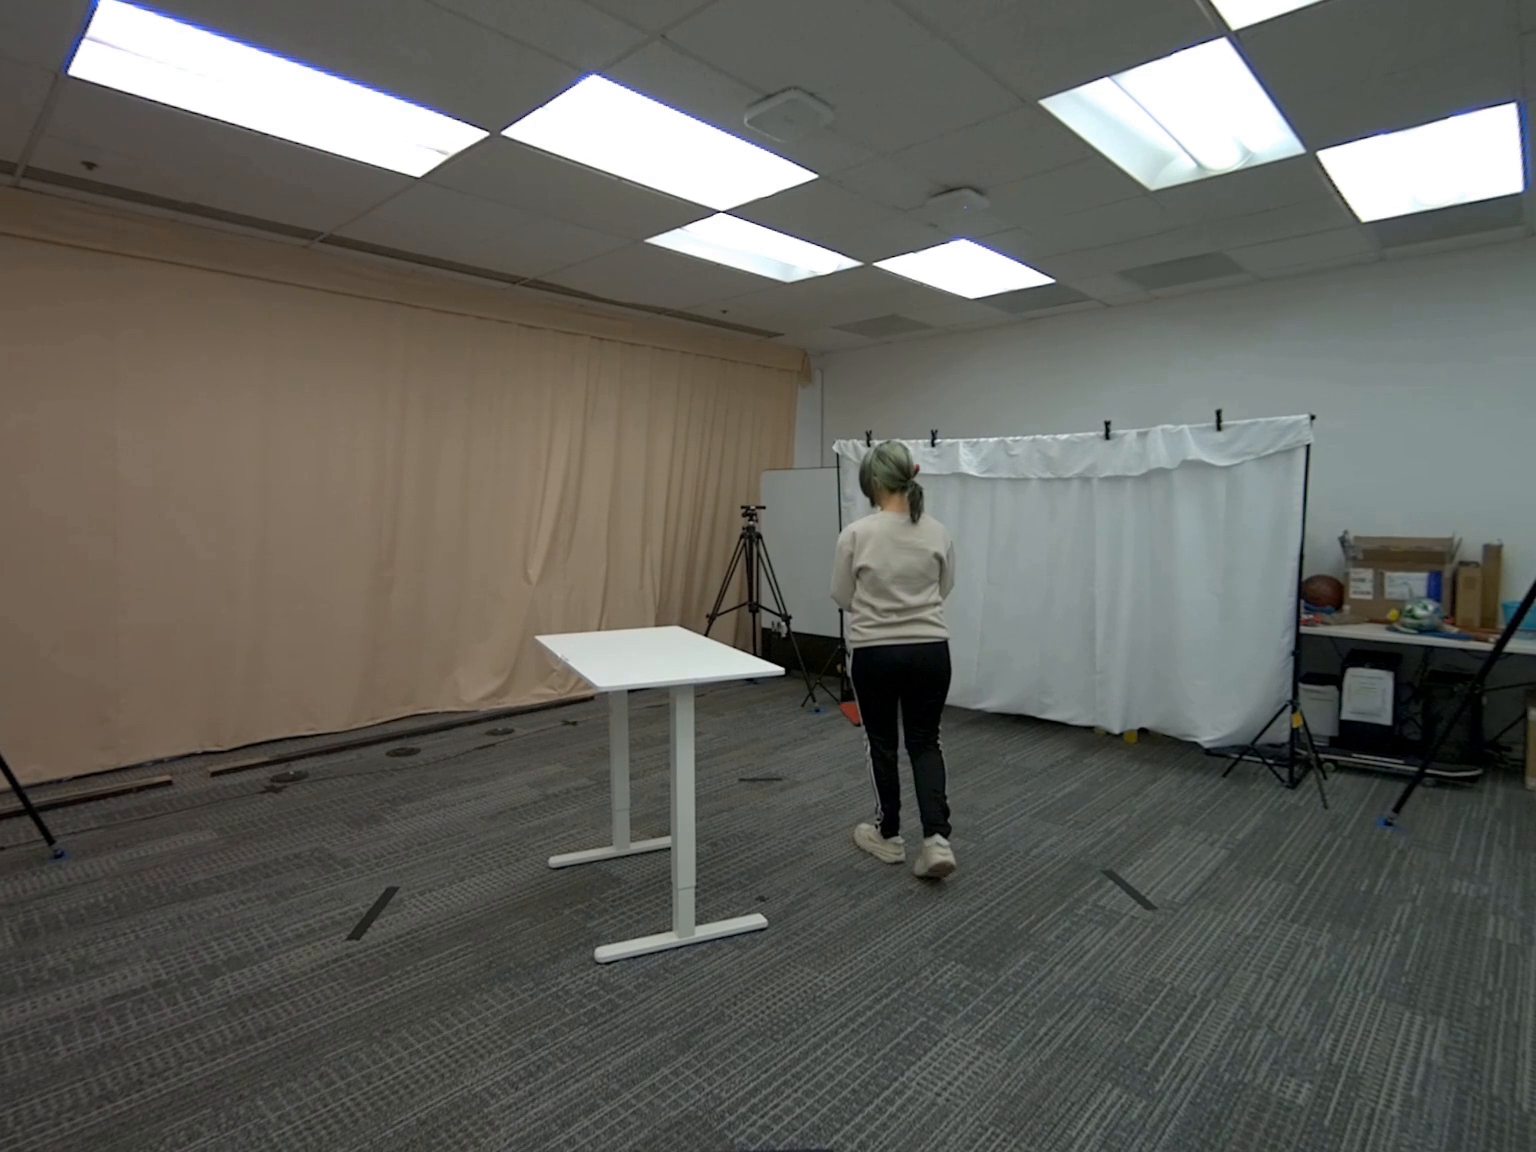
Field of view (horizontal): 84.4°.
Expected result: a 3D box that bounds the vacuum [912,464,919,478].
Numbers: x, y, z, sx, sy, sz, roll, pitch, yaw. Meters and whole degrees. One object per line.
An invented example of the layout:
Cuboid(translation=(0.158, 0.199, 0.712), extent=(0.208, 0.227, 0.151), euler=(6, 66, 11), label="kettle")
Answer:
Cuboid(translation=(0.509, 0.058, 3.515), extent=(0.142, 1.047, 0.257), euler=(11, 5, -13), label="vacuum")
